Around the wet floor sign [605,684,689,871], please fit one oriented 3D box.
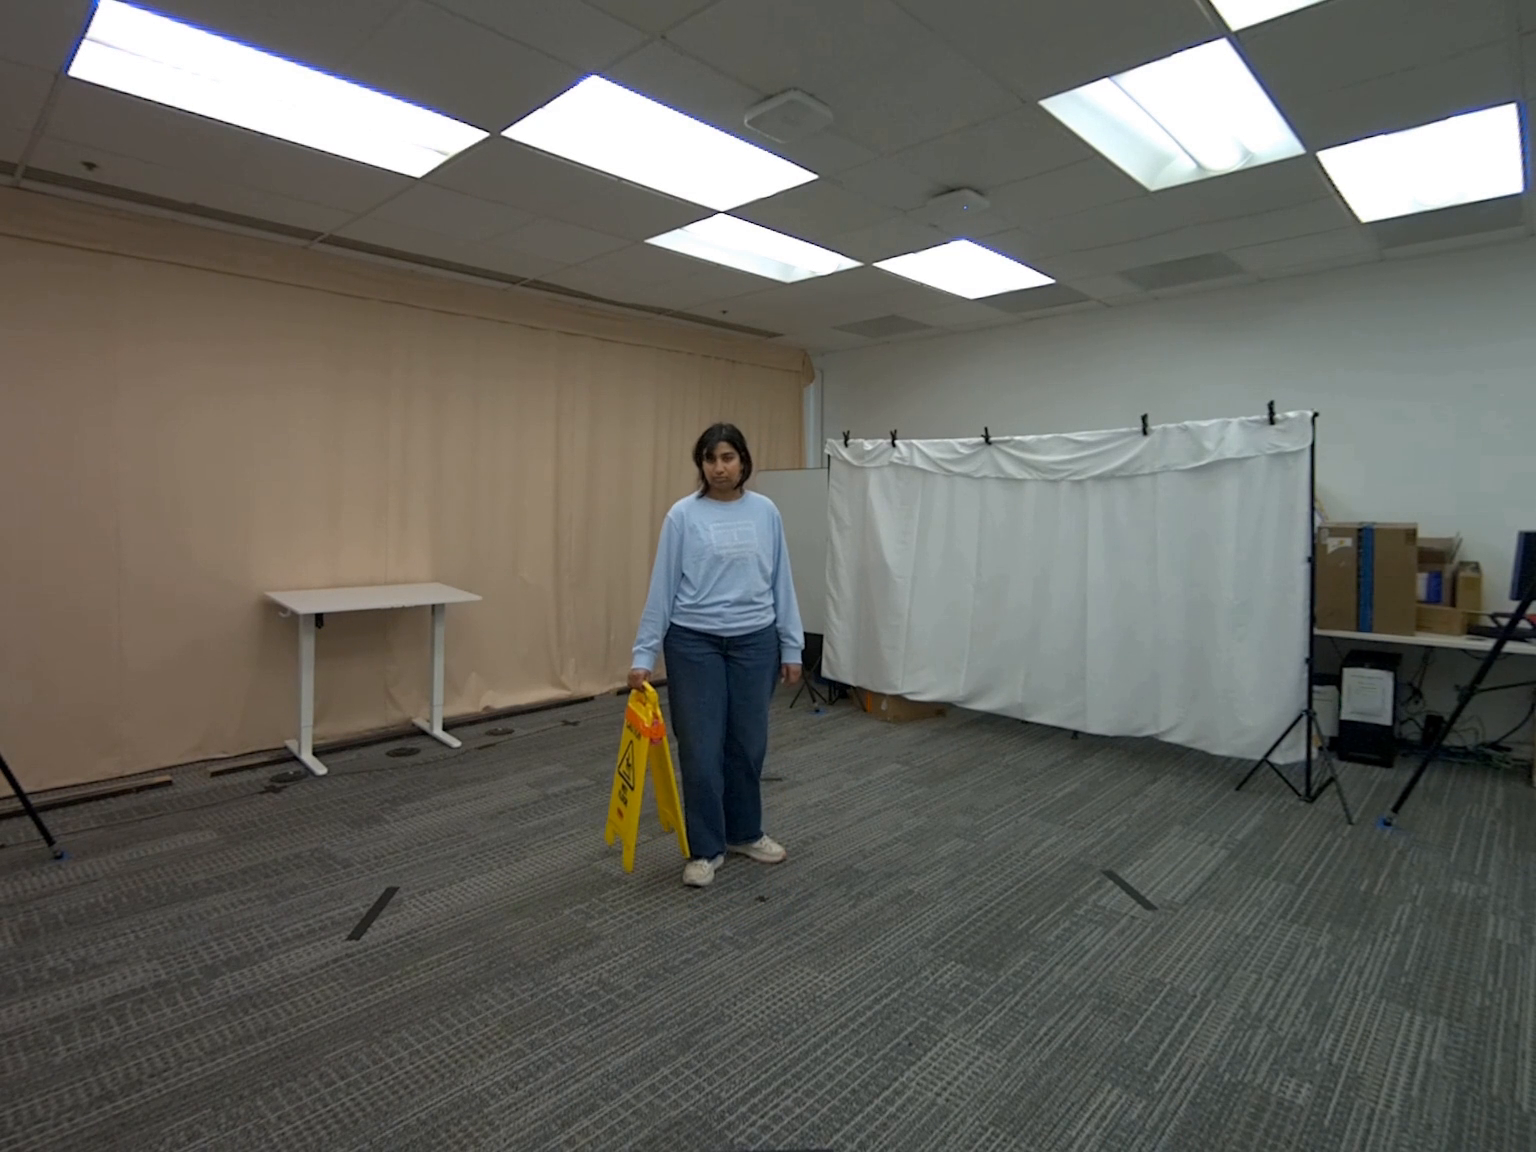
[{"bbox_3d":[-0.452,0.702,3.094,0.283,0.642,0.290,-4,10,-25],"label":"wet floor sign"}]
